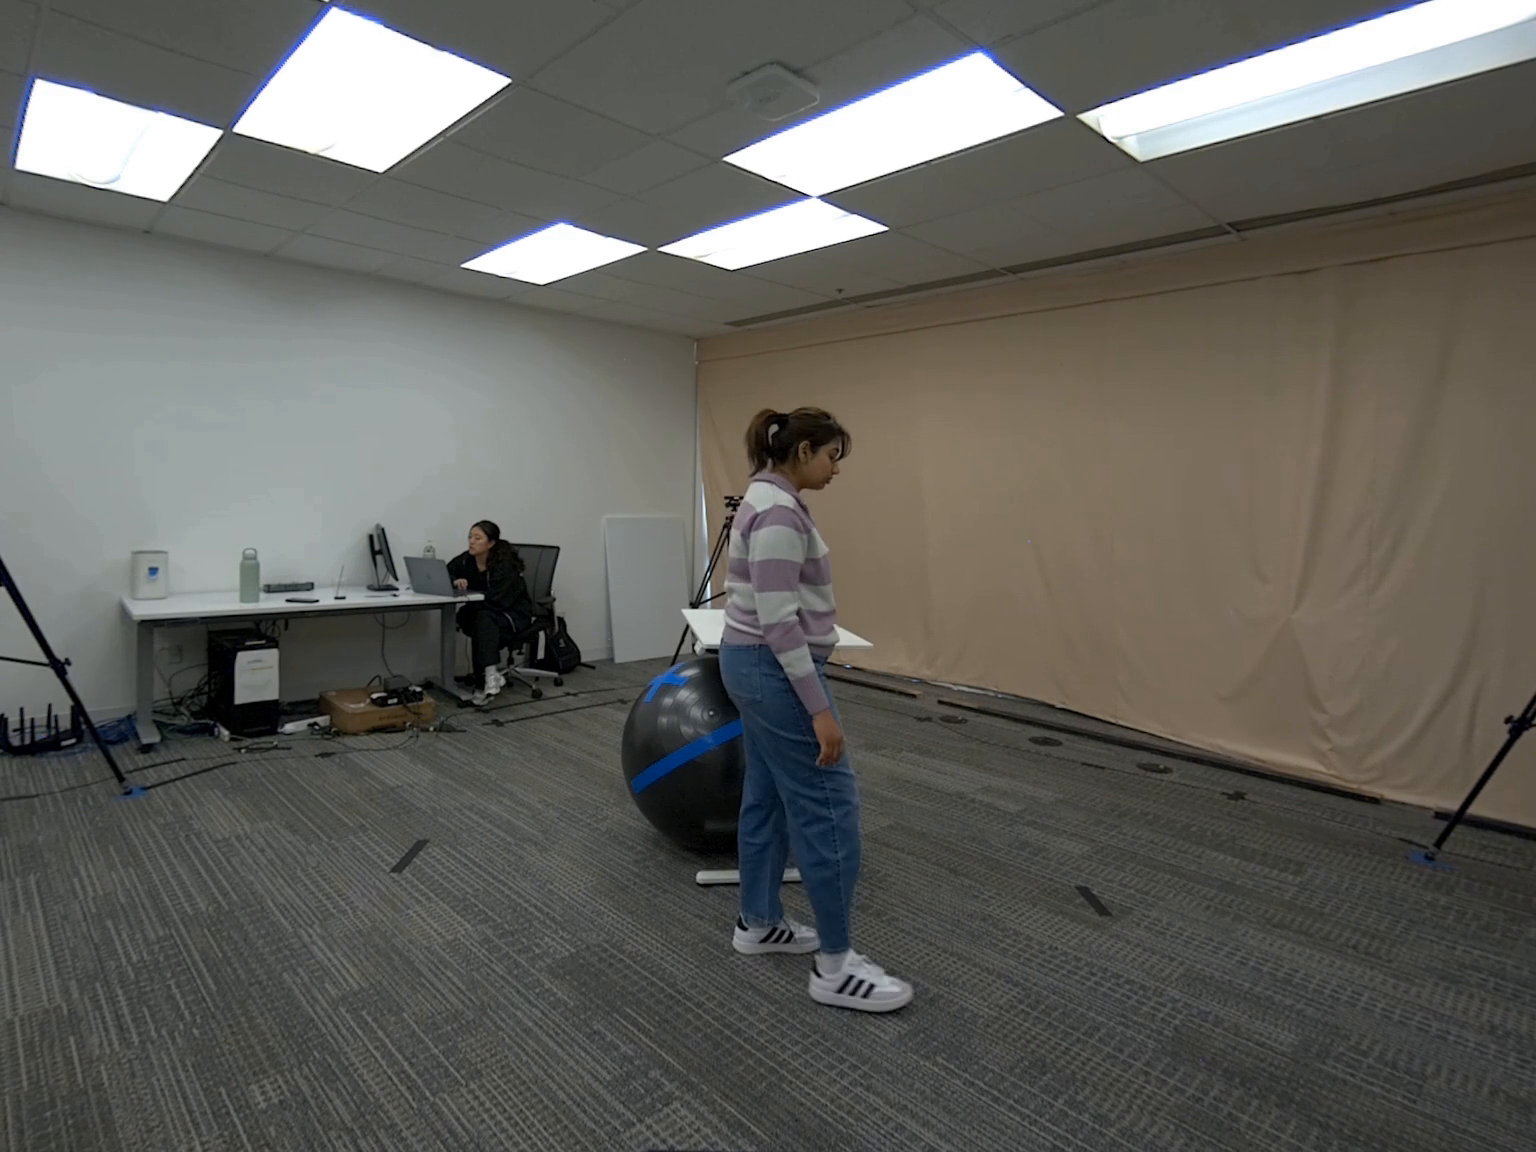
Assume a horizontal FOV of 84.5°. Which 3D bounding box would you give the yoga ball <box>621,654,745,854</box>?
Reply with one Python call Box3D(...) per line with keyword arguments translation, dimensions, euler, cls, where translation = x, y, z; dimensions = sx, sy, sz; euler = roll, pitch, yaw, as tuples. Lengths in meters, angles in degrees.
Box3D(translation=(-0.221, 0.708, 3.405), dimensions=(0.757, 0.756, 0.761), euler=(1, 4, -1), cls="yoga ball")
